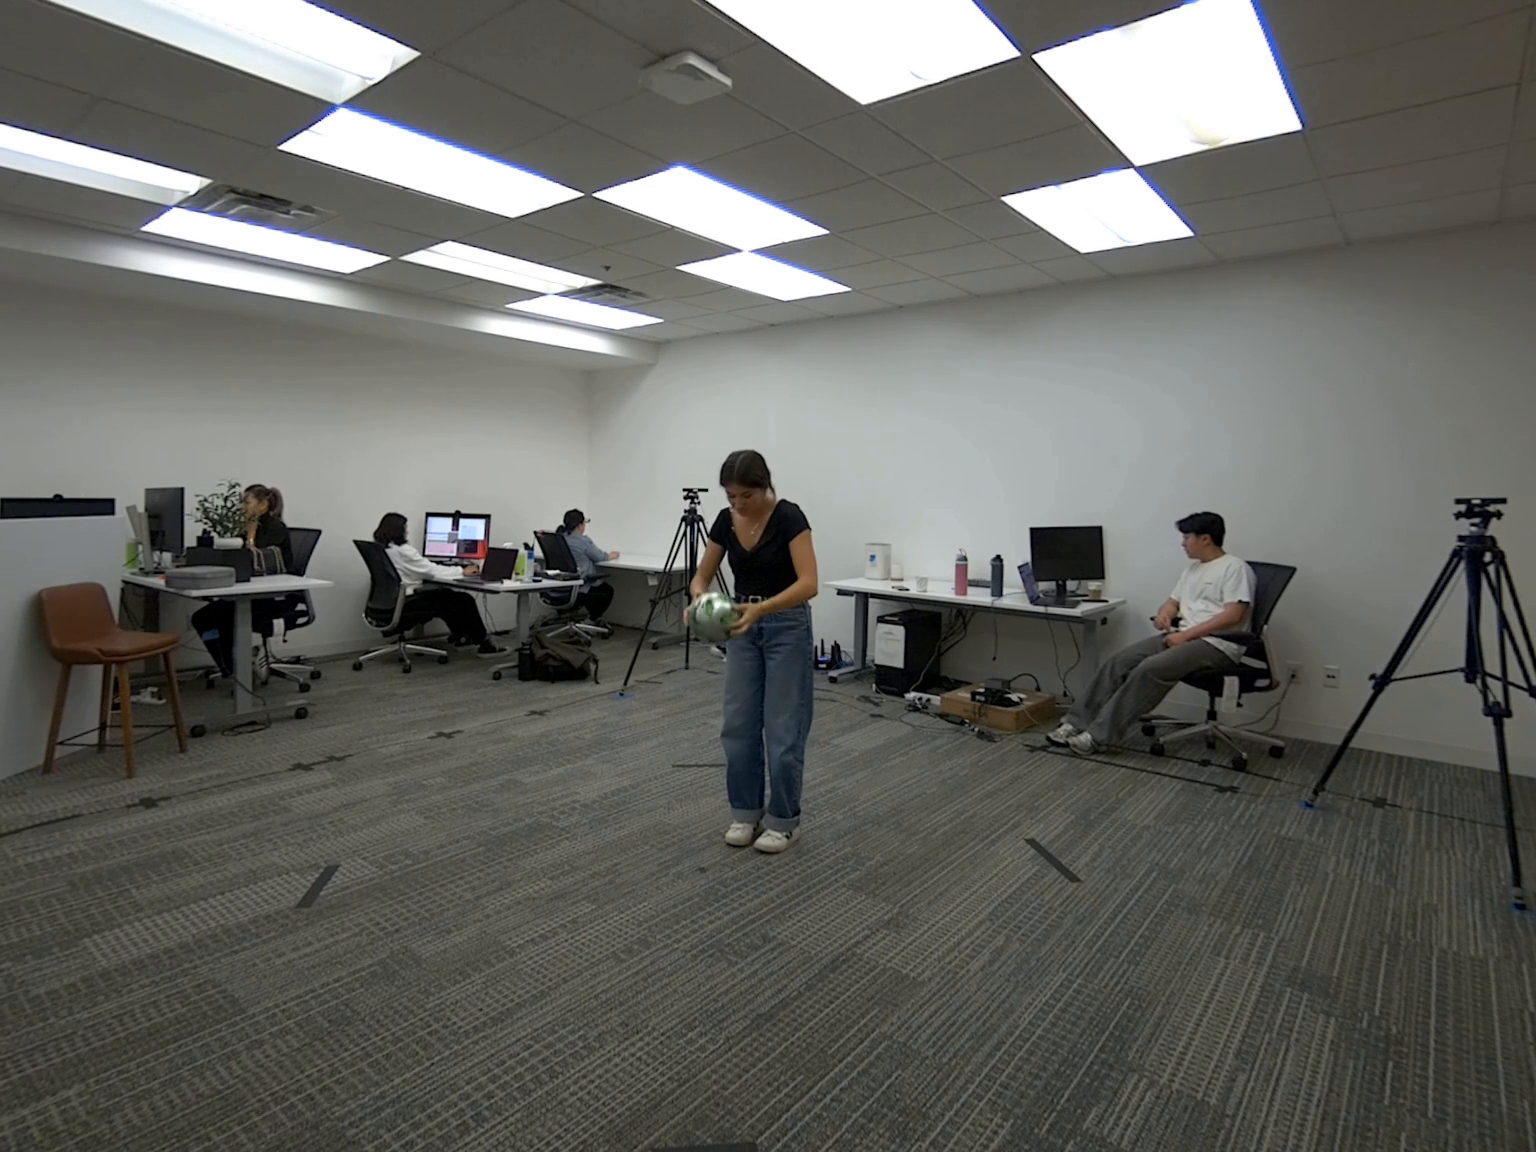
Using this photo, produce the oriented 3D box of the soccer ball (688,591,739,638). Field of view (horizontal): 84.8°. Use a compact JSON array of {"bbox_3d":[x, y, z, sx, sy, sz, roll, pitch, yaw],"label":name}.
[{"bbox_3d":[-0.186,0.087,3.069,0.187,0.187,0.188,1,4,-2],"label":"soccer ball"}]
